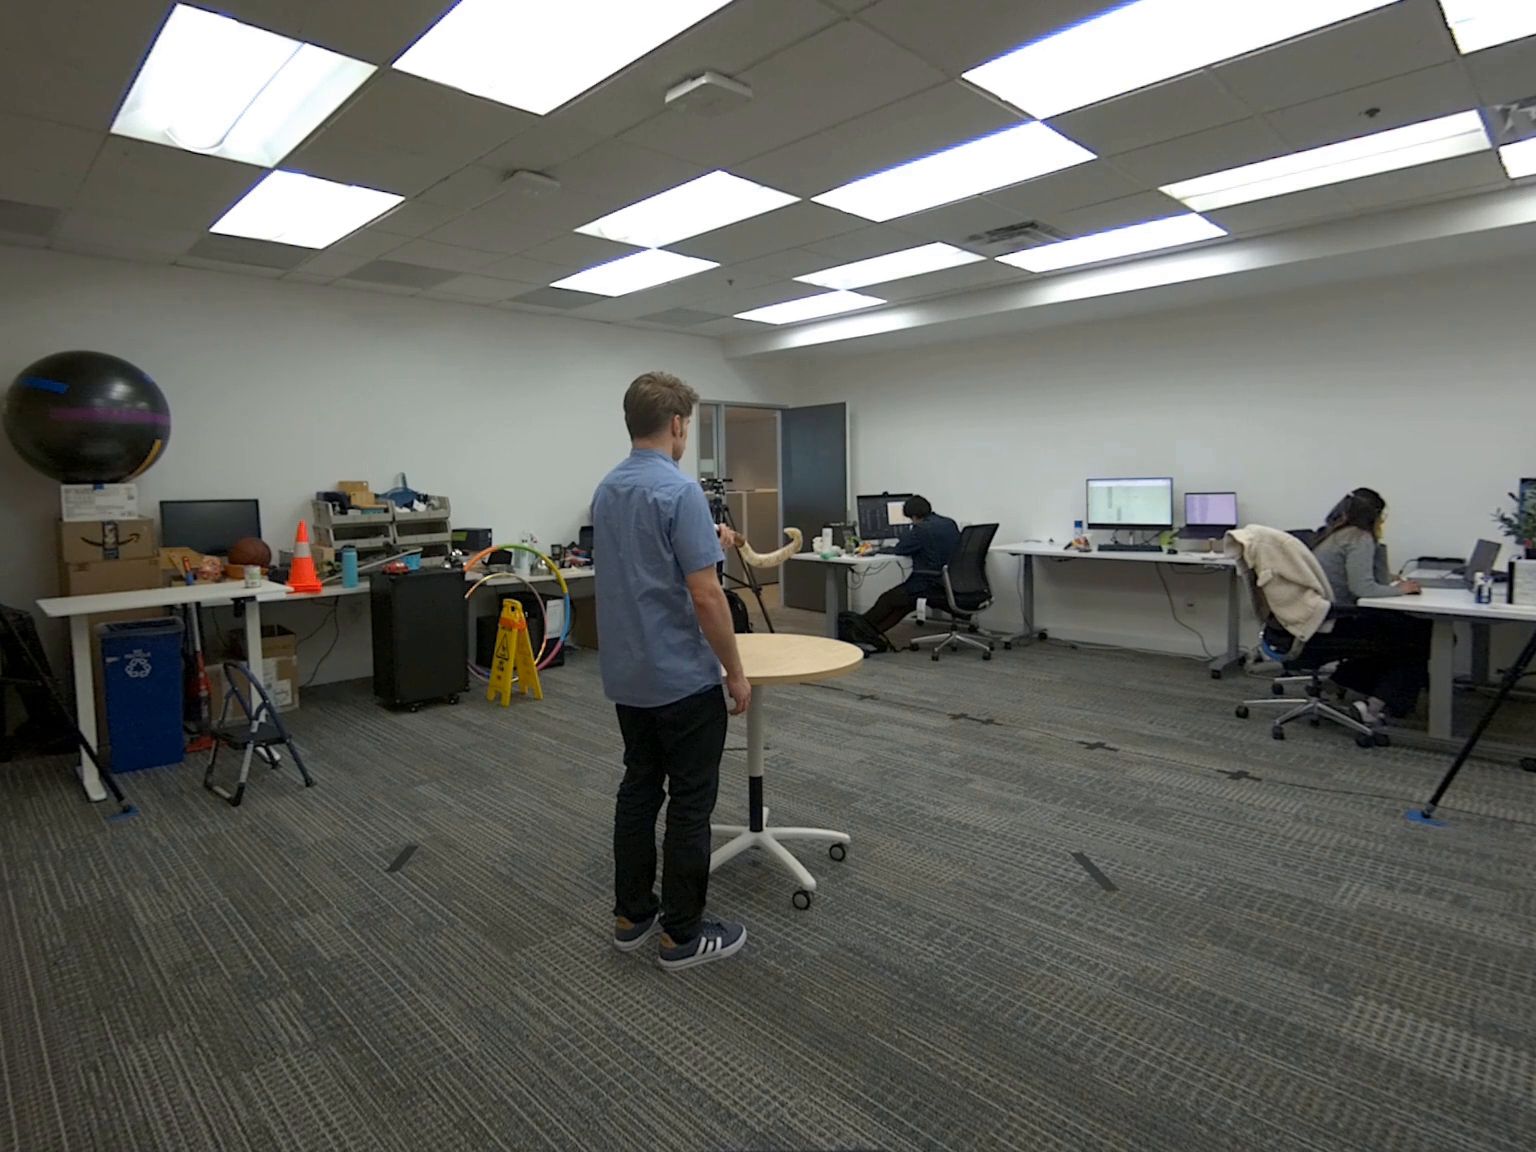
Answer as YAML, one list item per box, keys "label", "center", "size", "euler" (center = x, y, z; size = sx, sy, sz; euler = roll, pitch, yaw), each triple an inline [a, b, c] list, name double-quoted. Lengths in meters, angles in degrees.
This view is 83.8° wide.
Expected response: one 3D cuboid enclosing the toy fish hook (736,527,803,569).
- label: "toy fish hook"
  center: [-0.032, -0.139, 2.965]
  size: [0.225, 0.050, 0.489]
  euler: [-36, -26, 17]
